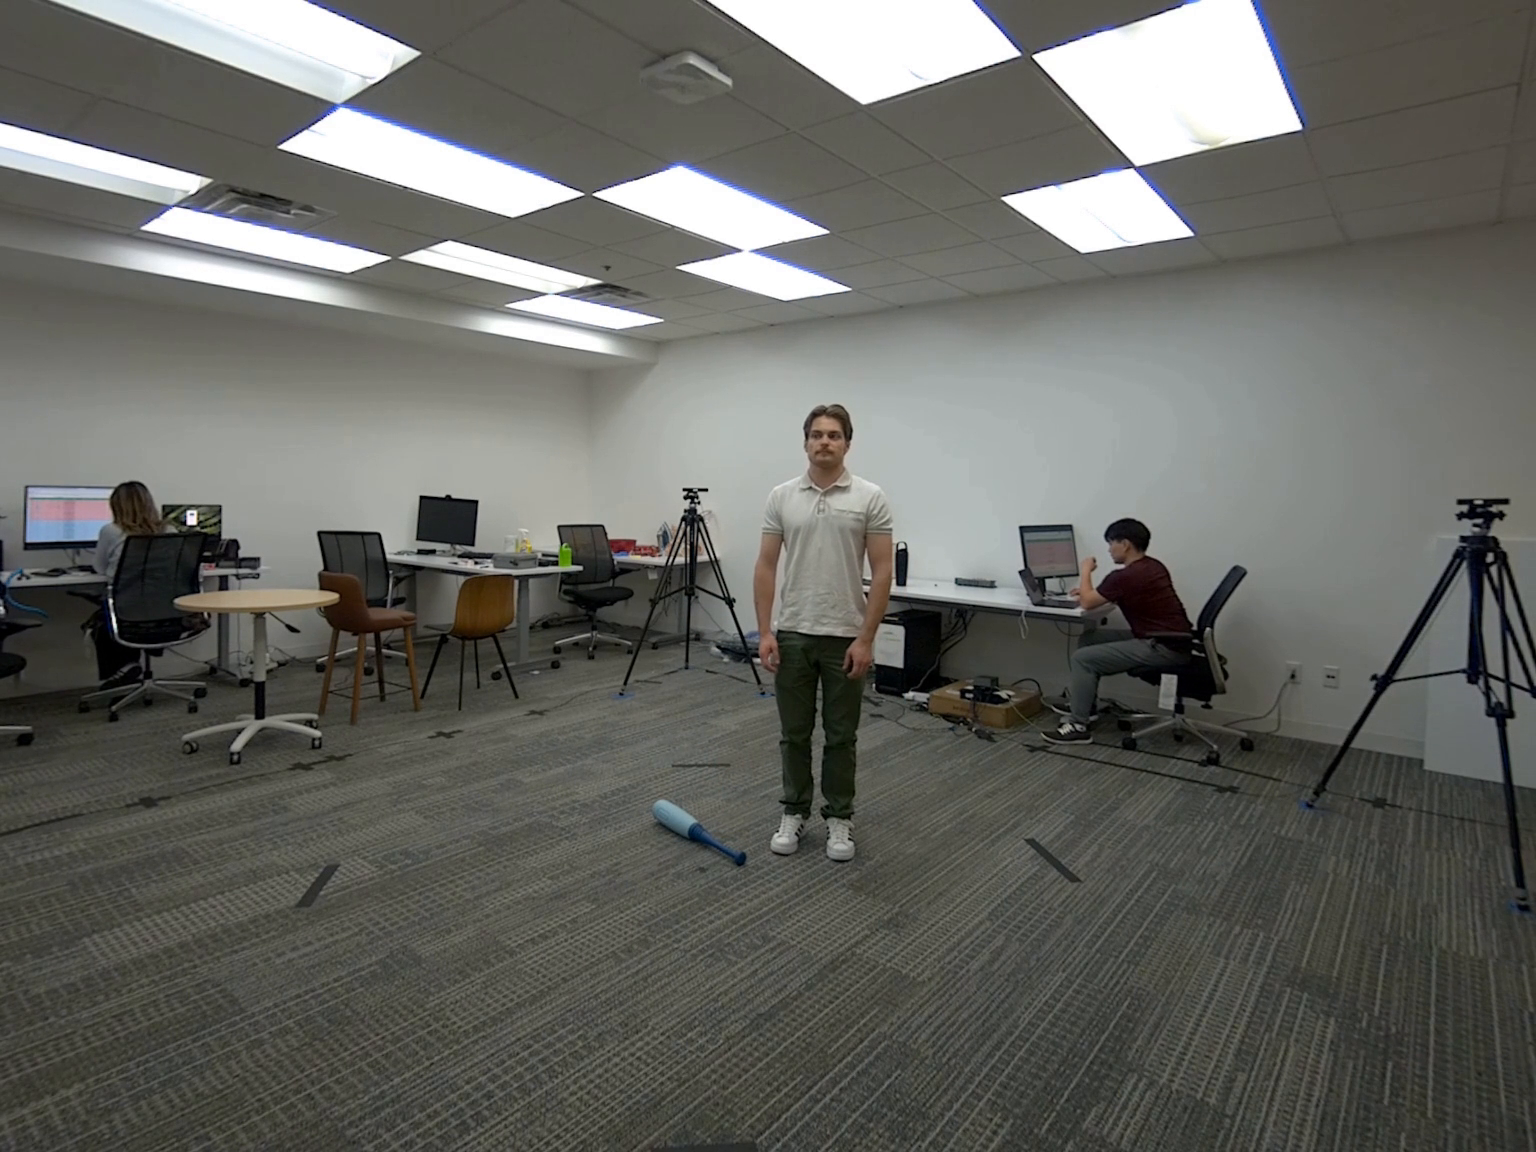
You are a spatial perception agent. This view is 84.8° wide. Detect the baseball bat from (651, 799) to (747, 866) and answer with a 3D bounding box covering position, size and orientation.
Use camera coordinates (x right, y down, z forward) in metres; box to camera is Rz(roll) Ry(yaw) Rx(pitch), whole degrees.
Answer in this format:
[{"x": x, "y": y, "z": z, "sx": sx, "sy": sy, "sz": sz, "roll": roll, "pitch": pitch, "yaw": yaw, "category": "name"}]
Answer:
[{"x": -0.279, "y": 1.008, "z": 3.351, "sx": 0.086, "sy": 0.088, "sz": 0.563, "roll": -3, "pitch": 10, "yaw": -41, "category": "baseball bat"}]
